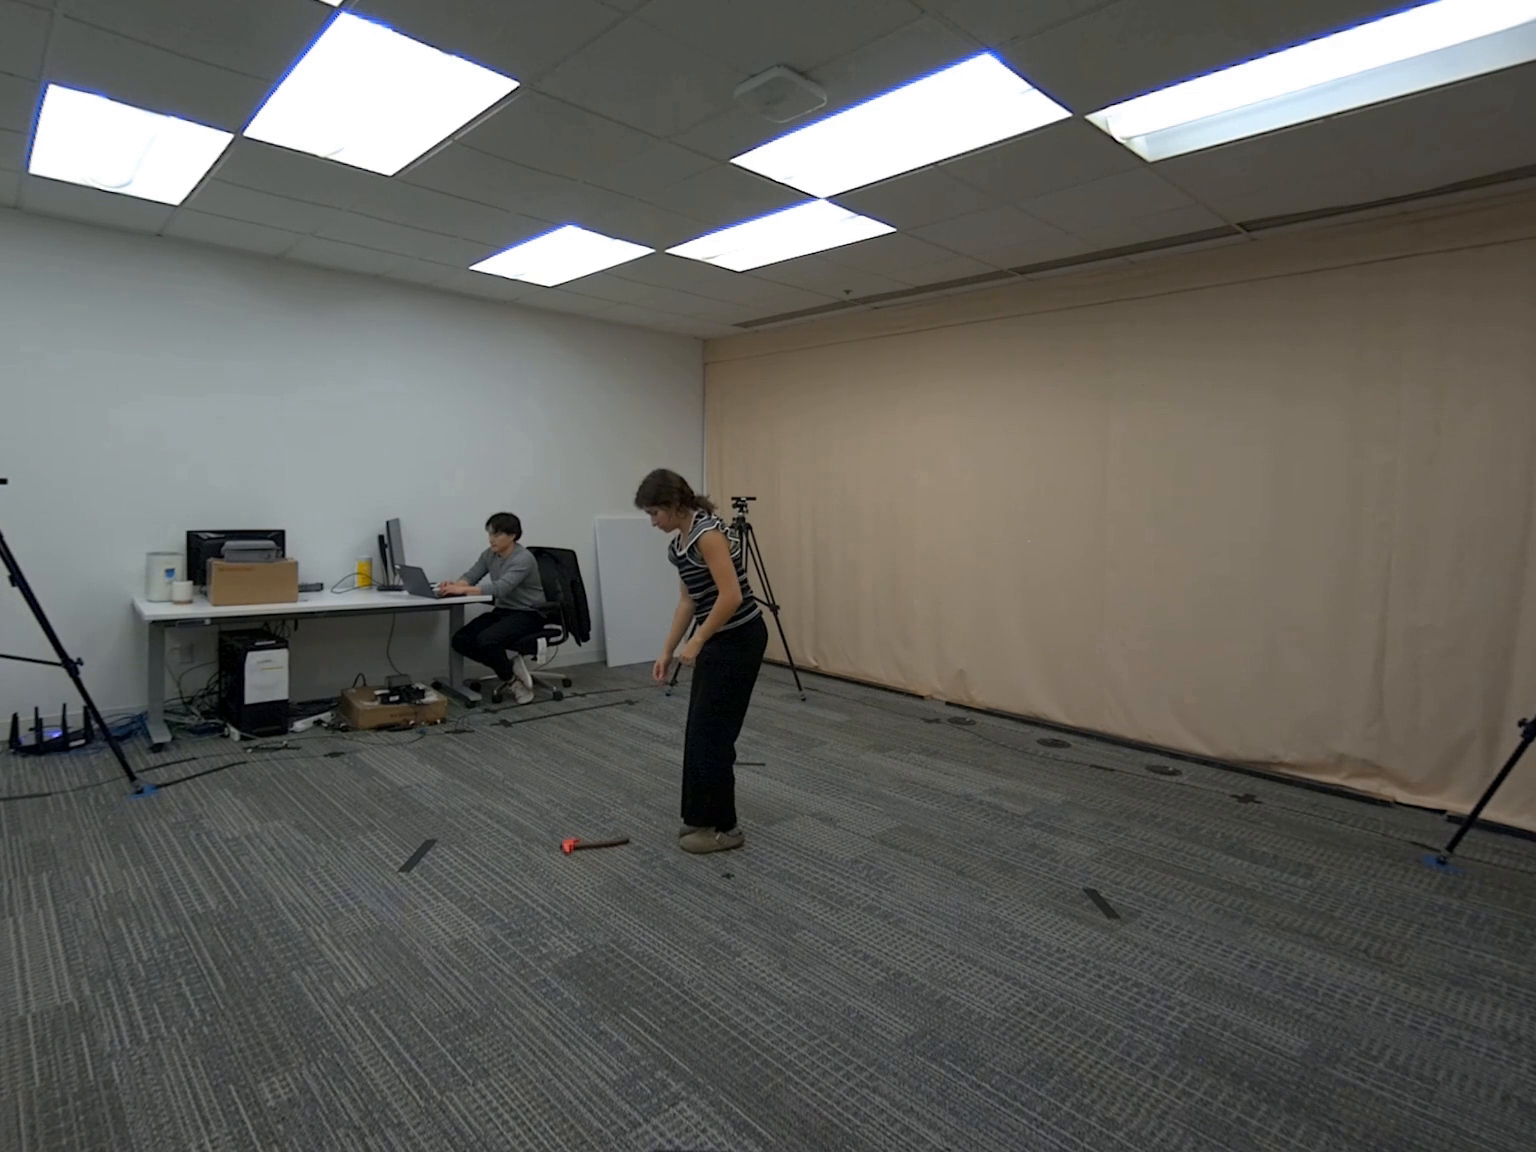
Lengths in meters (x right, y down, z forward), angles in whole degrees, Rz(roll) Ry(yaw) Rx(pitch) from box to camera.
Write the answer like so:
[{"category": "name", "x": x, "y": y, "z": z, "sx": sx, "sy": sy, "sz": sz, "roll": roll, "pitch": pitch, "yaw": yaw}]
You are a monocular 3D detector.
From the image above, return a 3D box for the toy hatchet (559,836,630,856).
[{"category": "toy hatchet", "x": -0.707, "y": 1.058, "z": 3.355, "sx": 0.264, "sy": 0.029, "sz": 0.134, "roll": 2, "pitch": 1, "yaw": -33}]
